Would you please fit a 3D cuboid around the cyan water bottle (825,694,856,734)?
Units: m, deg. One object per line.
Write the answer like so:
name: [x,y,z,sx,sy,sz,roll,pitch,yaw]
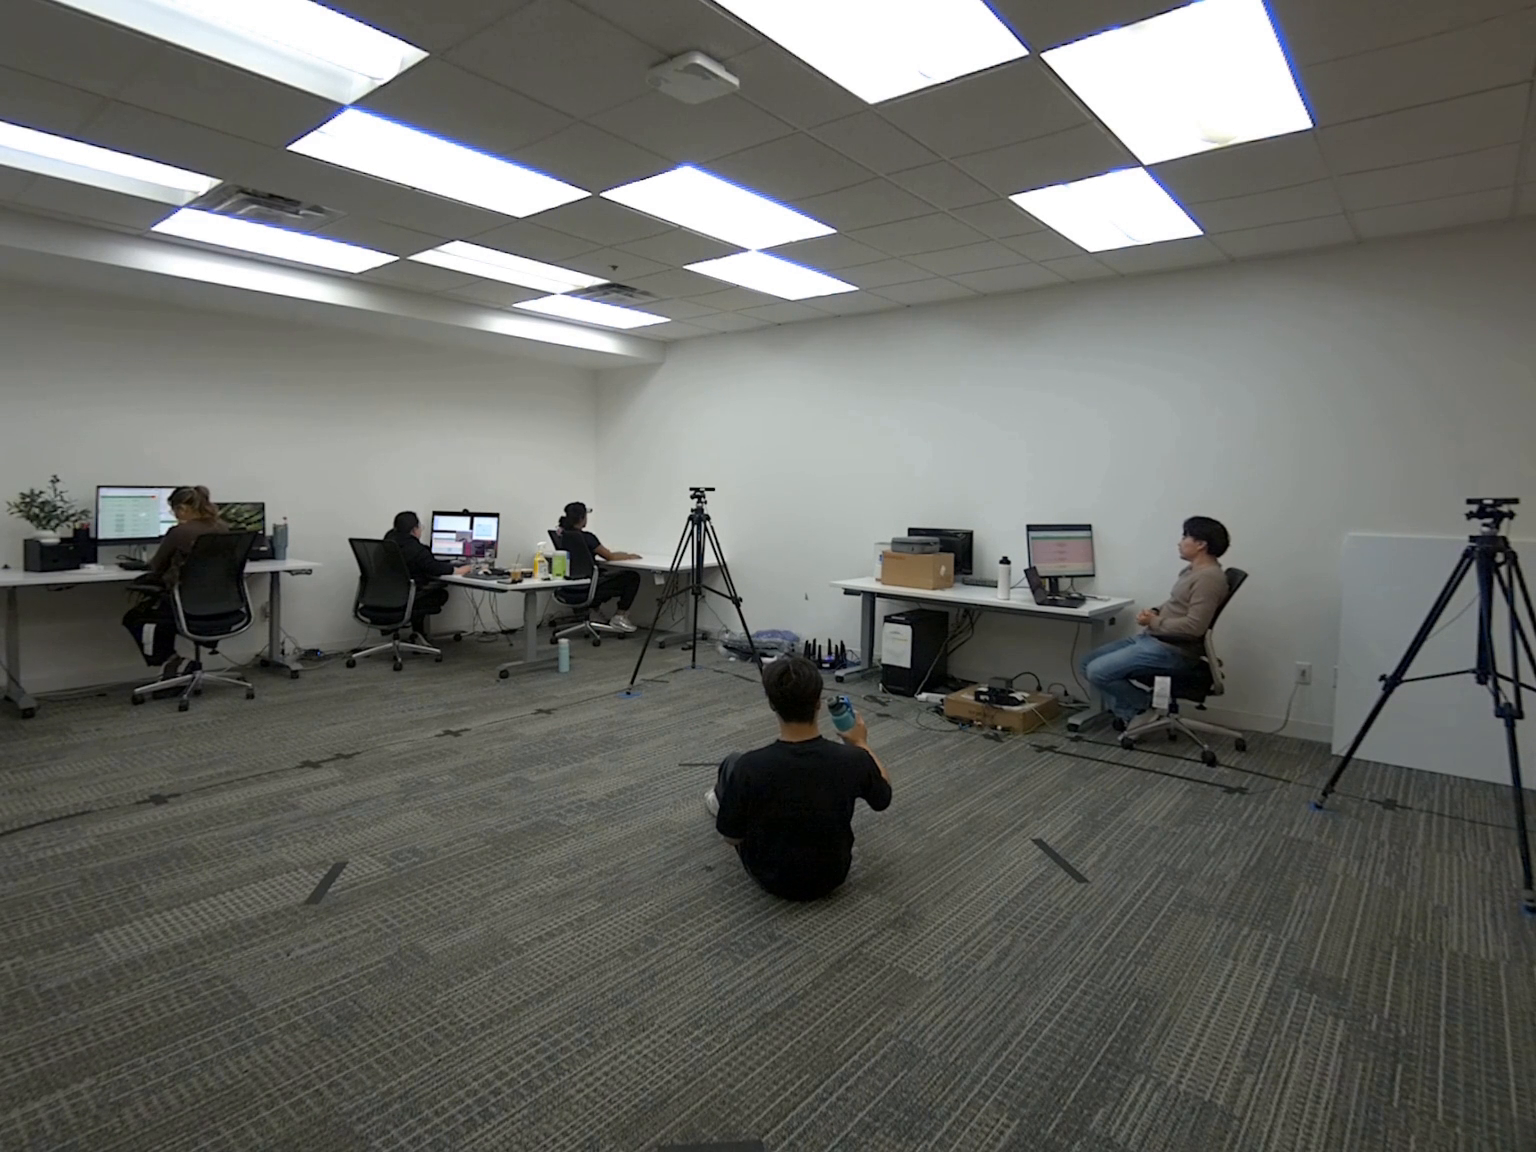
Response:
cyan water bottle: [0.305,0.587,3.341,0.093,0.276,0.094,-20,22,7]
